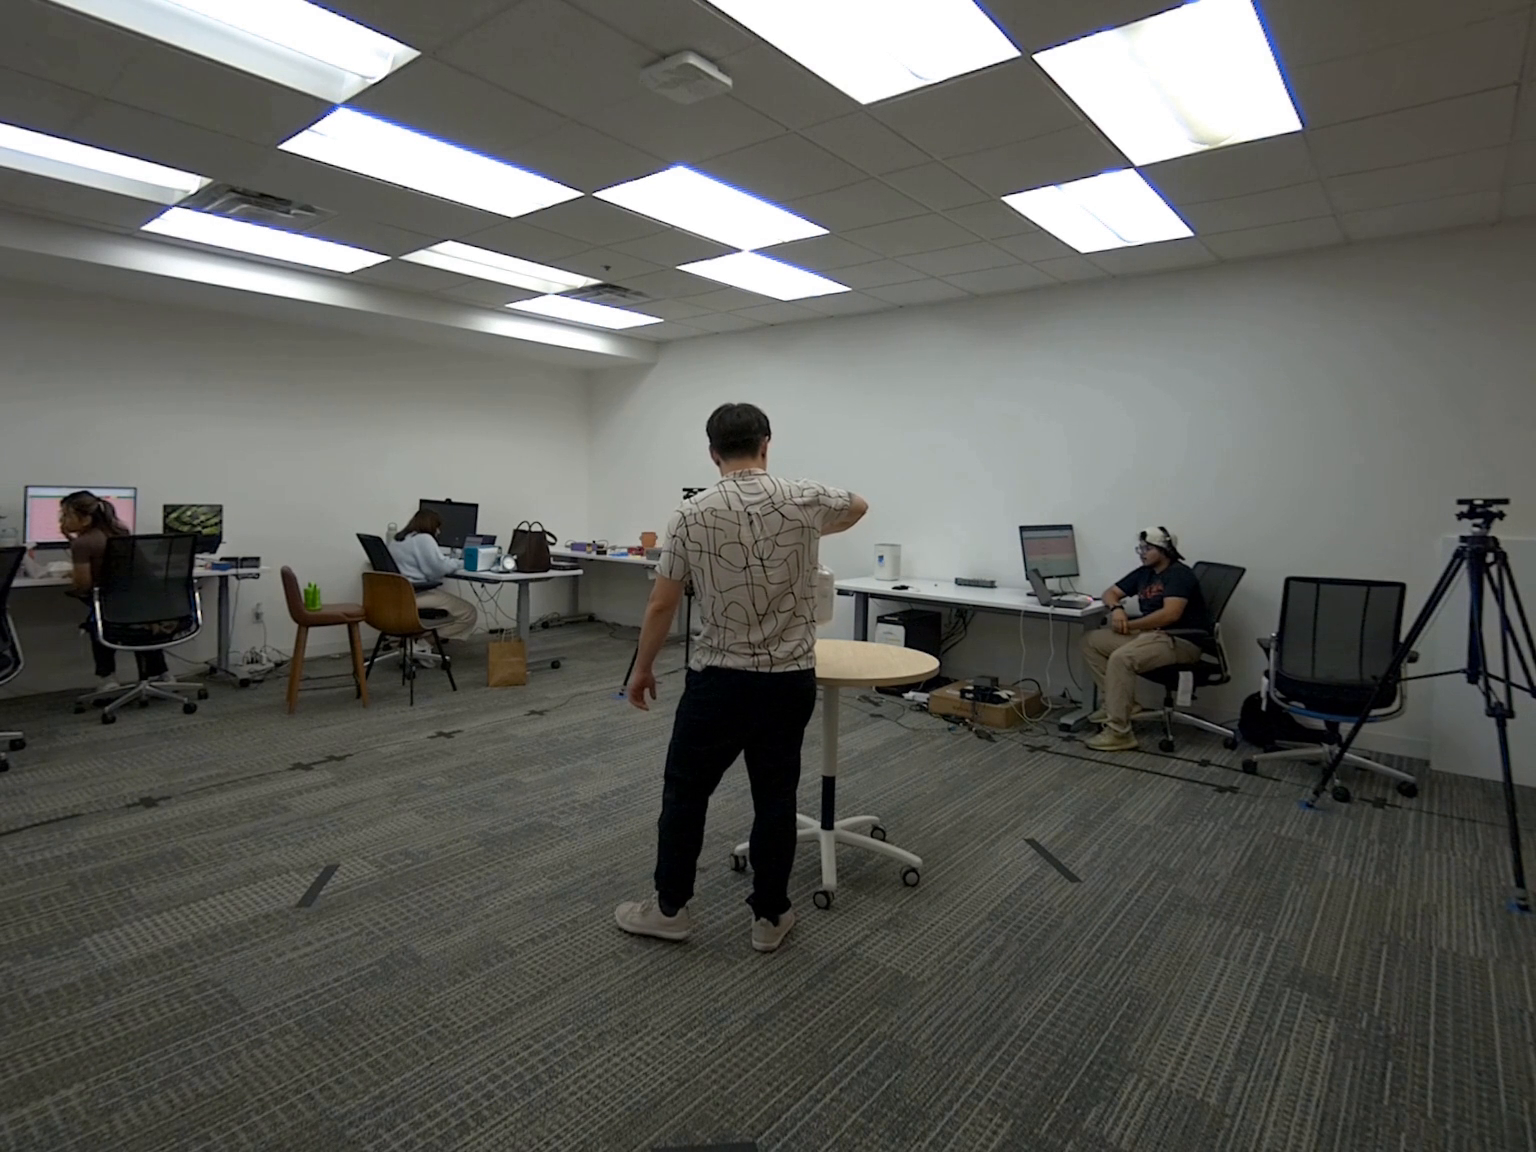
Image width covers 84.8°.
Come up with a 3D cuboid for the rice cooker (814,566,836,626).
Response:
[{"bbox_3d":[0.115,0.049,2.990,0.211,0.232,0.228,-1,5,-40],"label":"rice cooker"}]
